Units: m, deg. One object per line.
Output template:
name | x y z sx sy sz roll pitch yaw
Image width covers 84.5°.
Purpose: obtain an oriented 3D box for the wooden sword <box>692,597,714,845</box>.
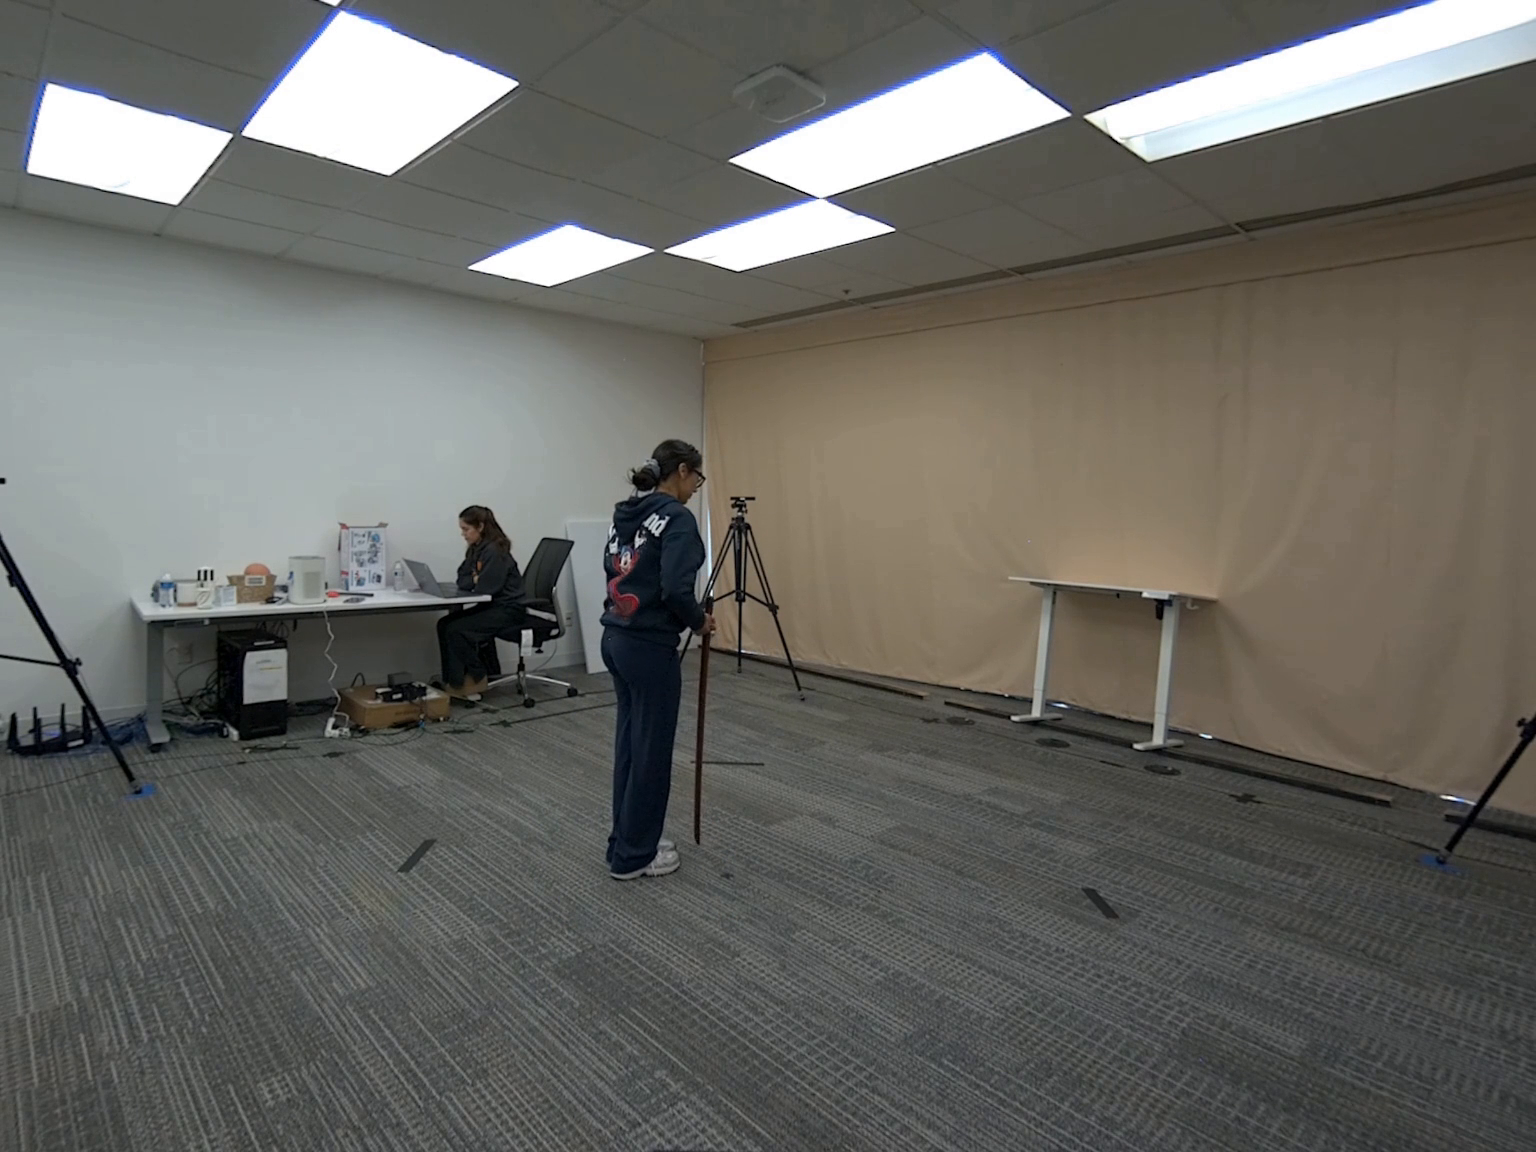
wooden sword | -0.262 0.596 3.299 0.024 1.017 0.051 9 11 19
